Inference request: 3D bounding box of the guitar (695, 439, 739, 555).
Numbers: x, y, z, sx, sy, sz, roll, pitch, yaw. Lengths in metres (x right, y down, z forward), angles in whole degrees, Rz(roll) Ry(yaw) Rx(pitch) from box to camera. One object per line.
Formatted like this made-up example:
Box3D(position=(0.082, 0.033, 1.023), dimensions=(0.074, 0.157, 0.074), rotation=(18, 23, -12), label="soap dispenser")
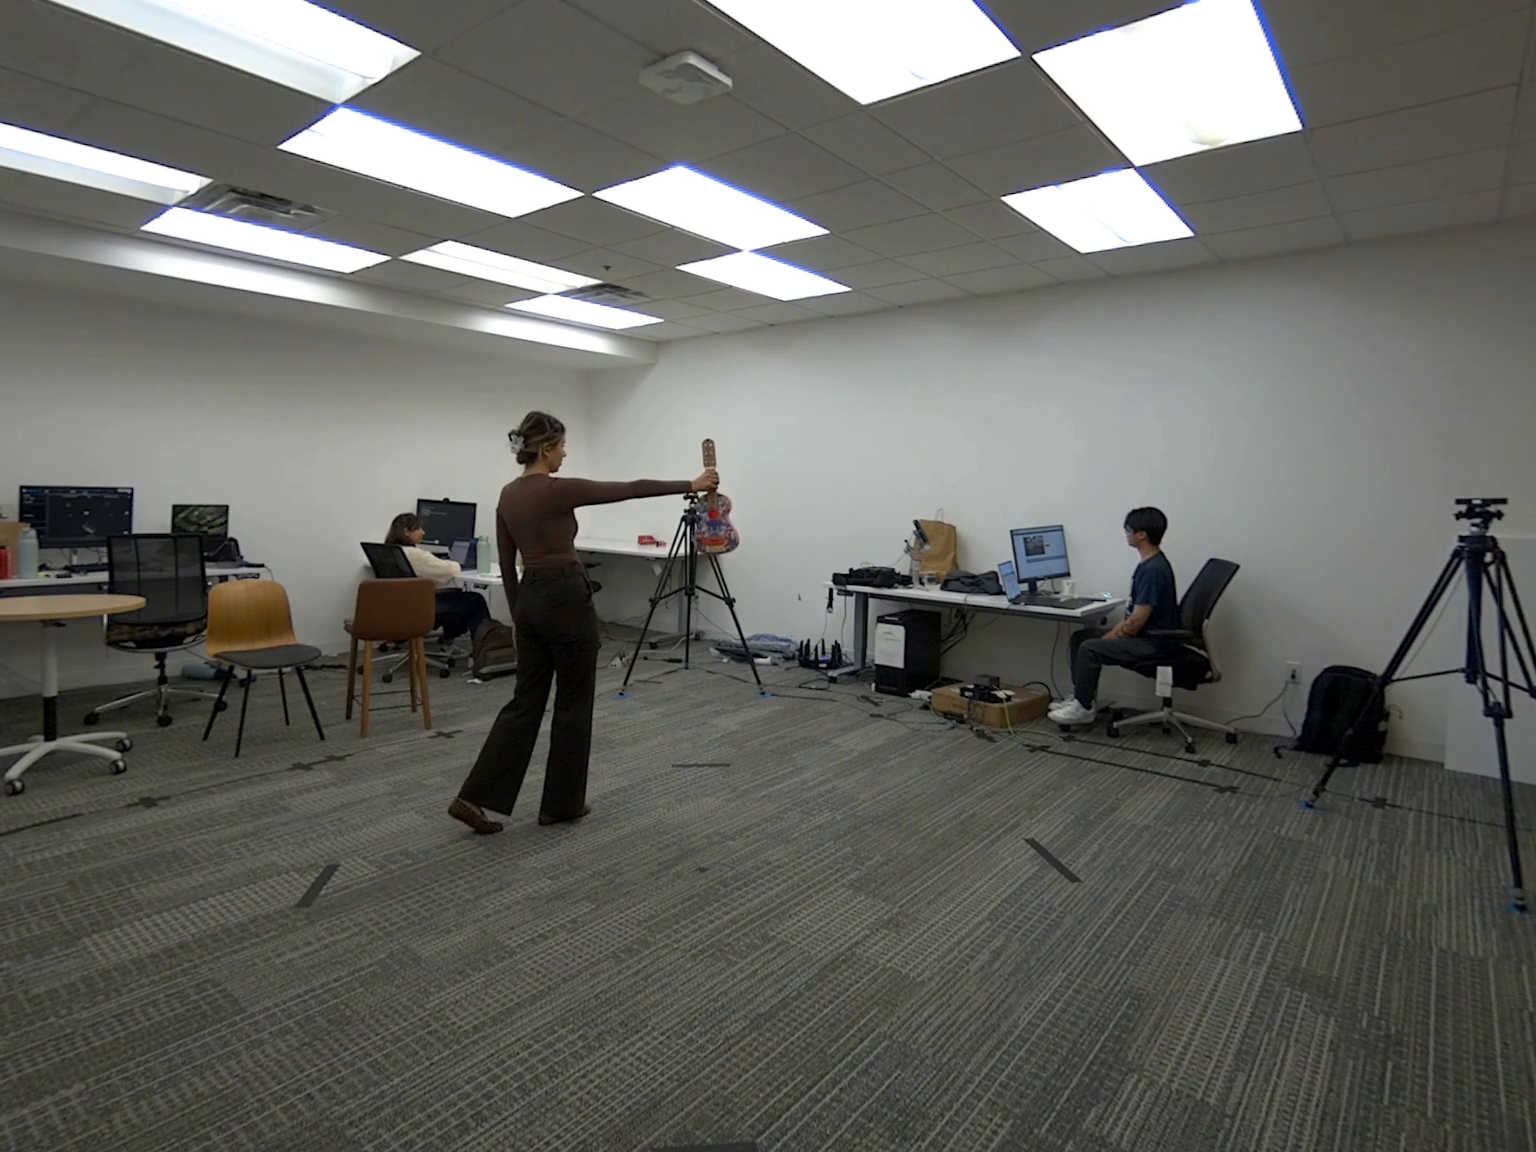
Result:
Box3D(position=(-0.233, -0.340, 3.697), dimensions=(0.195, 0.497, 0.070), rotation=(6, 1, 7), label="guitar")
